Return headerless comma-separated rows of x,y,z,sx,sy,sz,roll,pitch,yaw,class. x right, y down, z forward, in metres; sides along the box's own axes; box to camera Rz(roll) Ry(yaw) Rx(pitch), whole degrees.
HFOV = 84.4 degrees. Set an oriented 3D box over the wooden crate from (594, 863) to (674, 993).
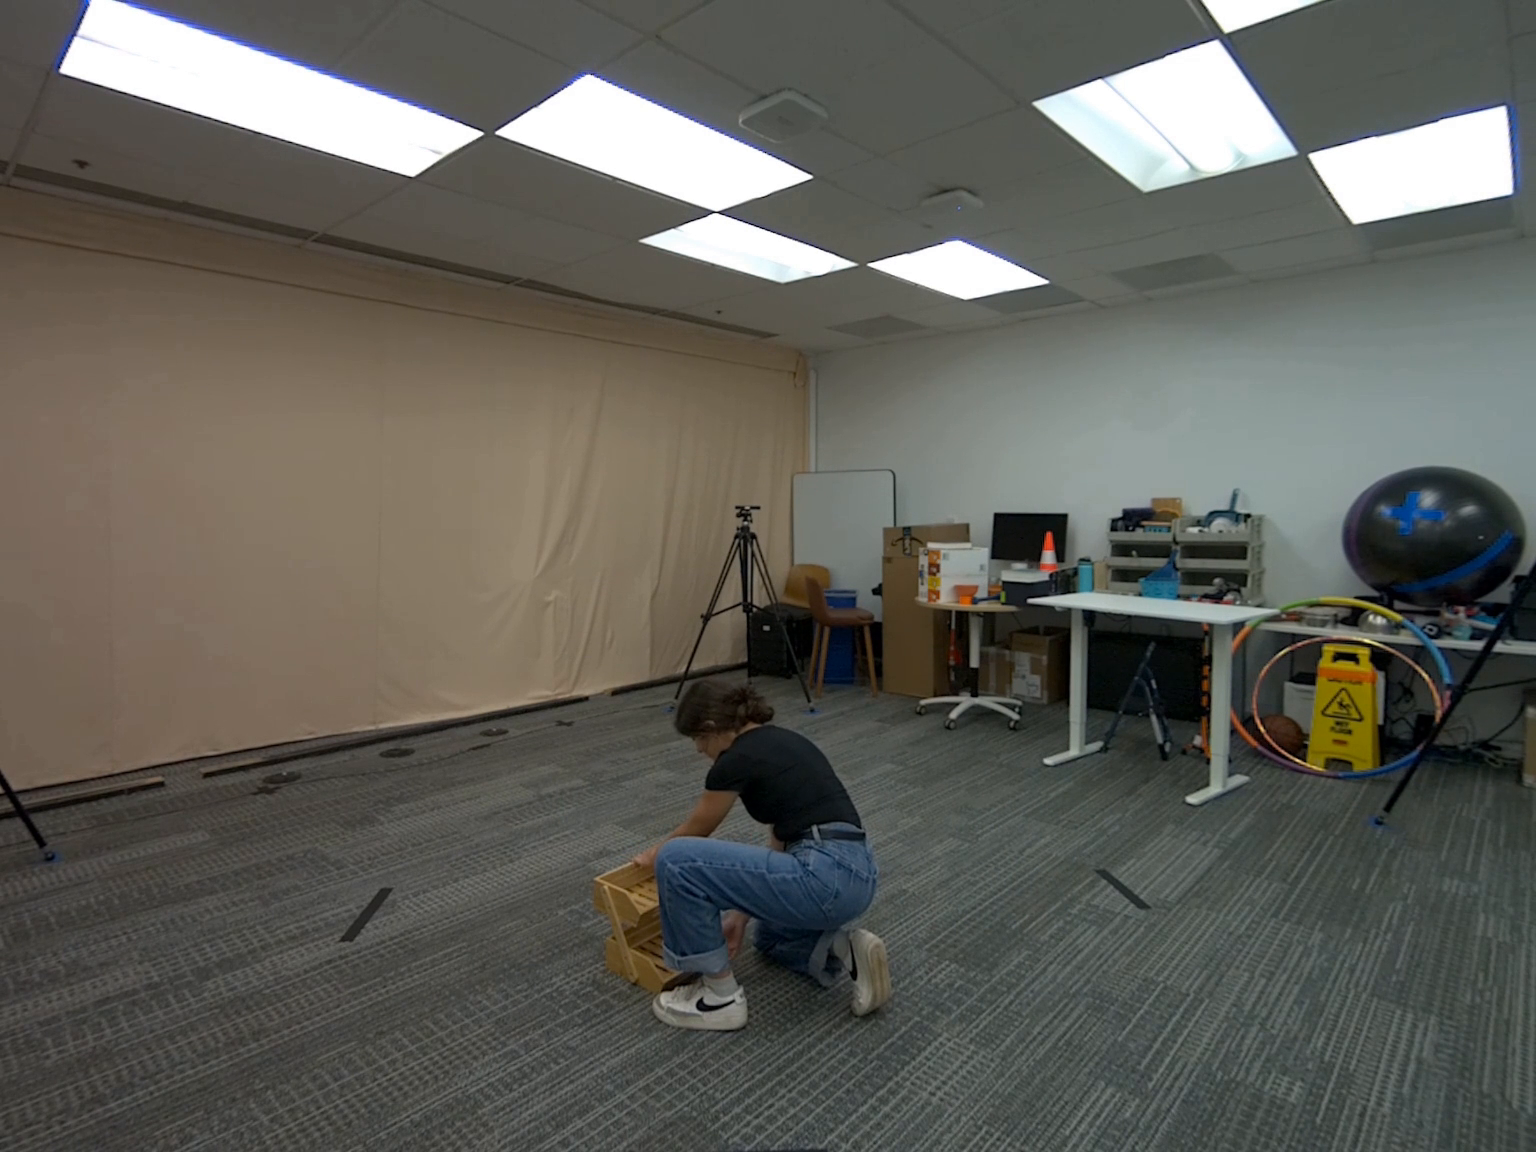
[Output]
-0.315,1.041,2.581,0.312,0.273,0.314,3,4,41,wooden crate
